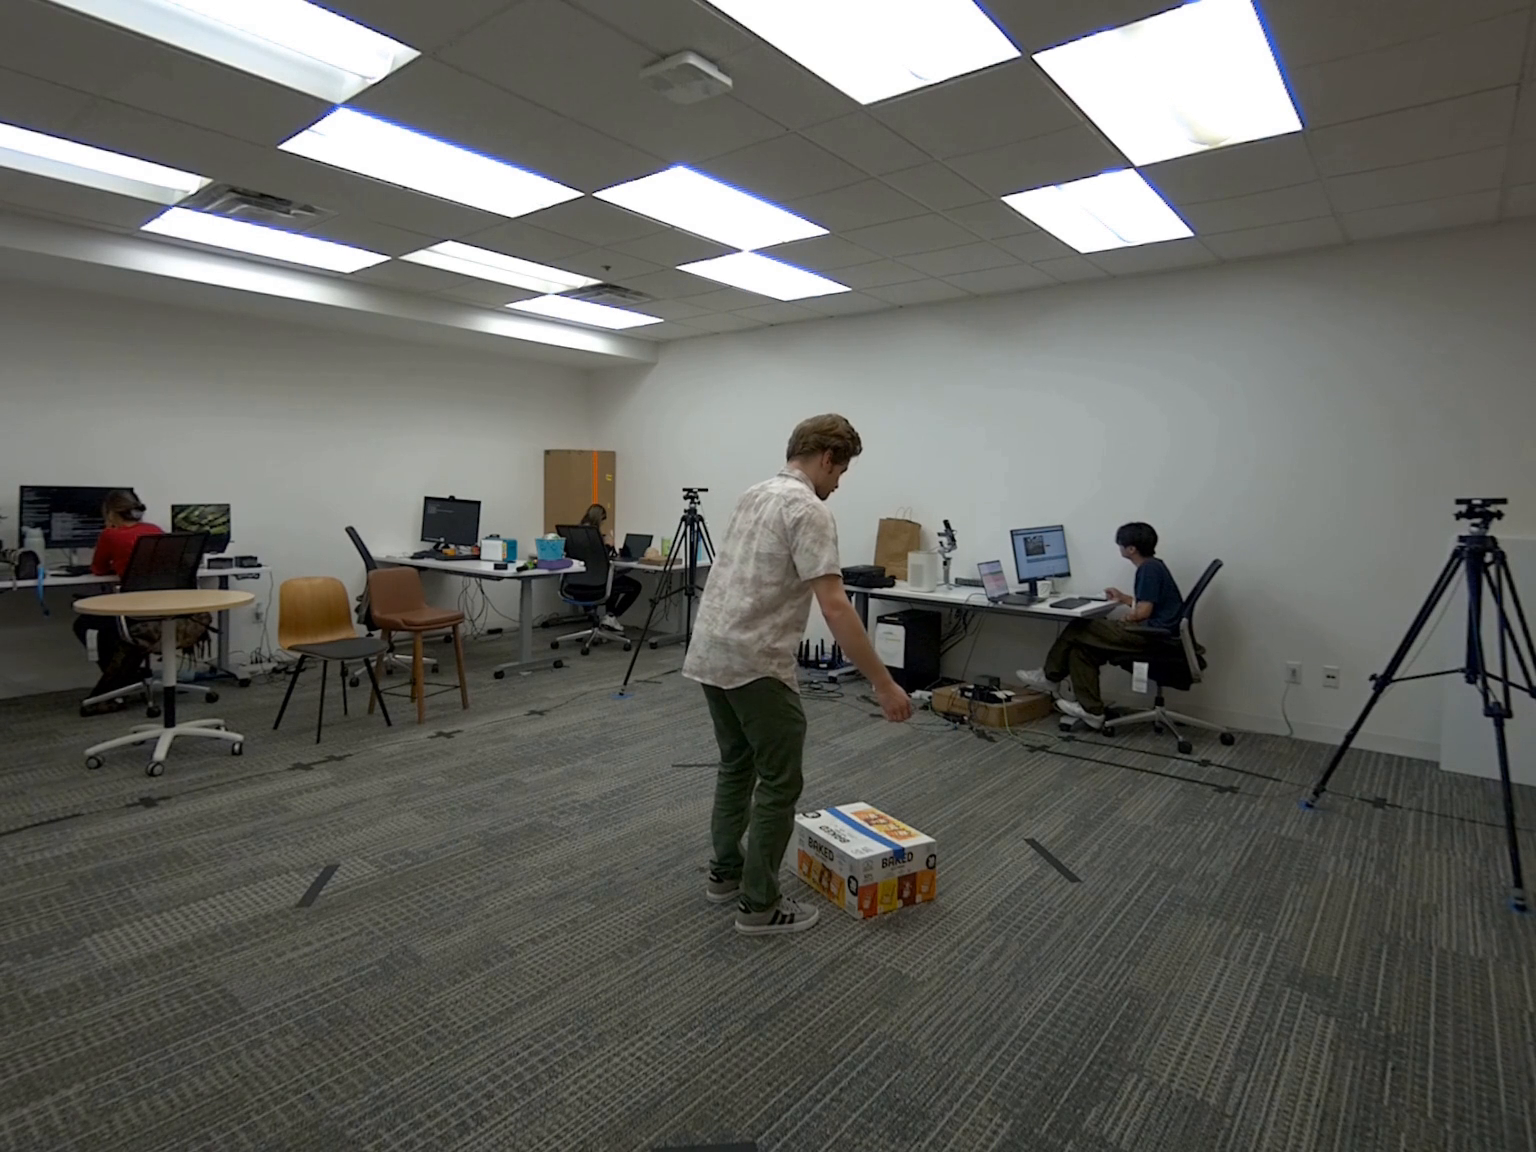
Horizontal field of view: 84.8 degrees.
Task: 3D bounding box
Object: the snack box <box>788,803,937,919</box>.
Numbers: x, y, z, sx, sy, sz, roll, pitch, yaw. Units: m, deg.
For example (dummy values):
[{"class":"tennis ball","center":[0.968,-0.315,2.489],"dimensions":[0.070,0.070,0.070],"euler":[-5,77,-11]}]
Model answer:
[{"class":"snack box","center":[0.315,0.986,3.011],"dimensions":[0.331,0.205,0.418],"euler":[-2,6,-31]}]
